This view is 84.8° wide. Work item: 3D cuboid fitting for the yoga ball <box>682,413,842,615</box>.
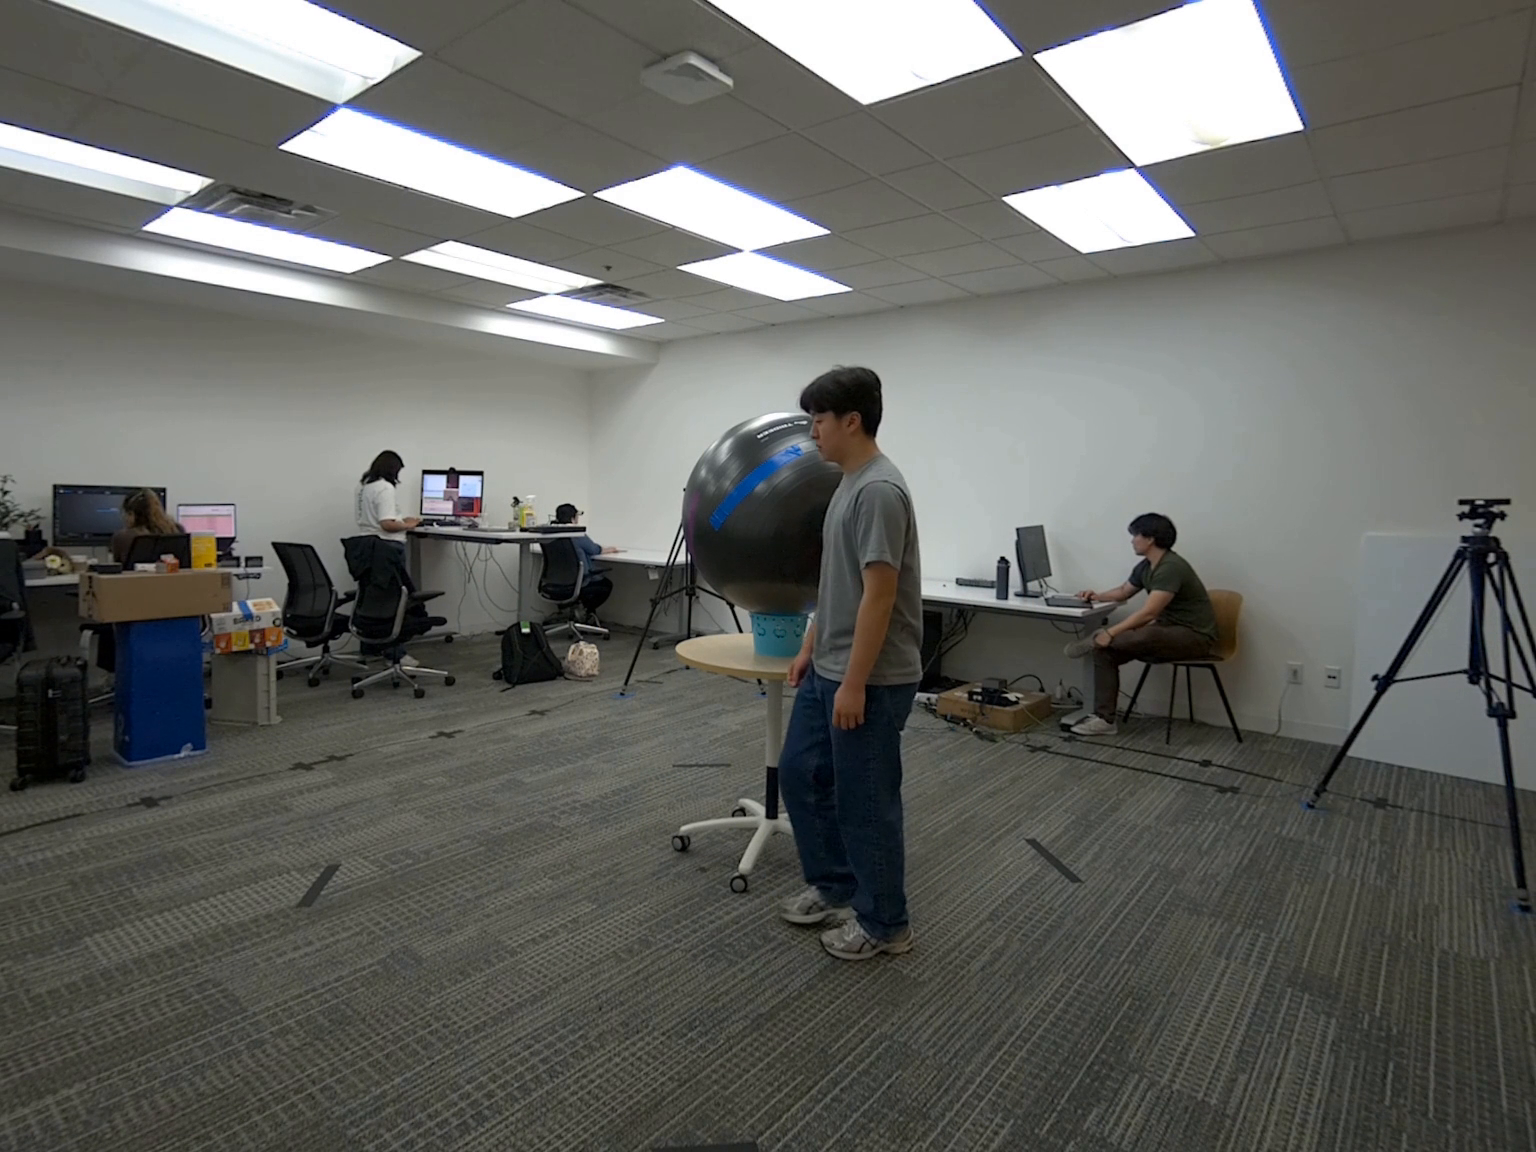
[{"bbox_3d":[0.043,-0.229,3.183,0.757,0.755,0.762,1,4,-2],"label":"yoga ball"}]
